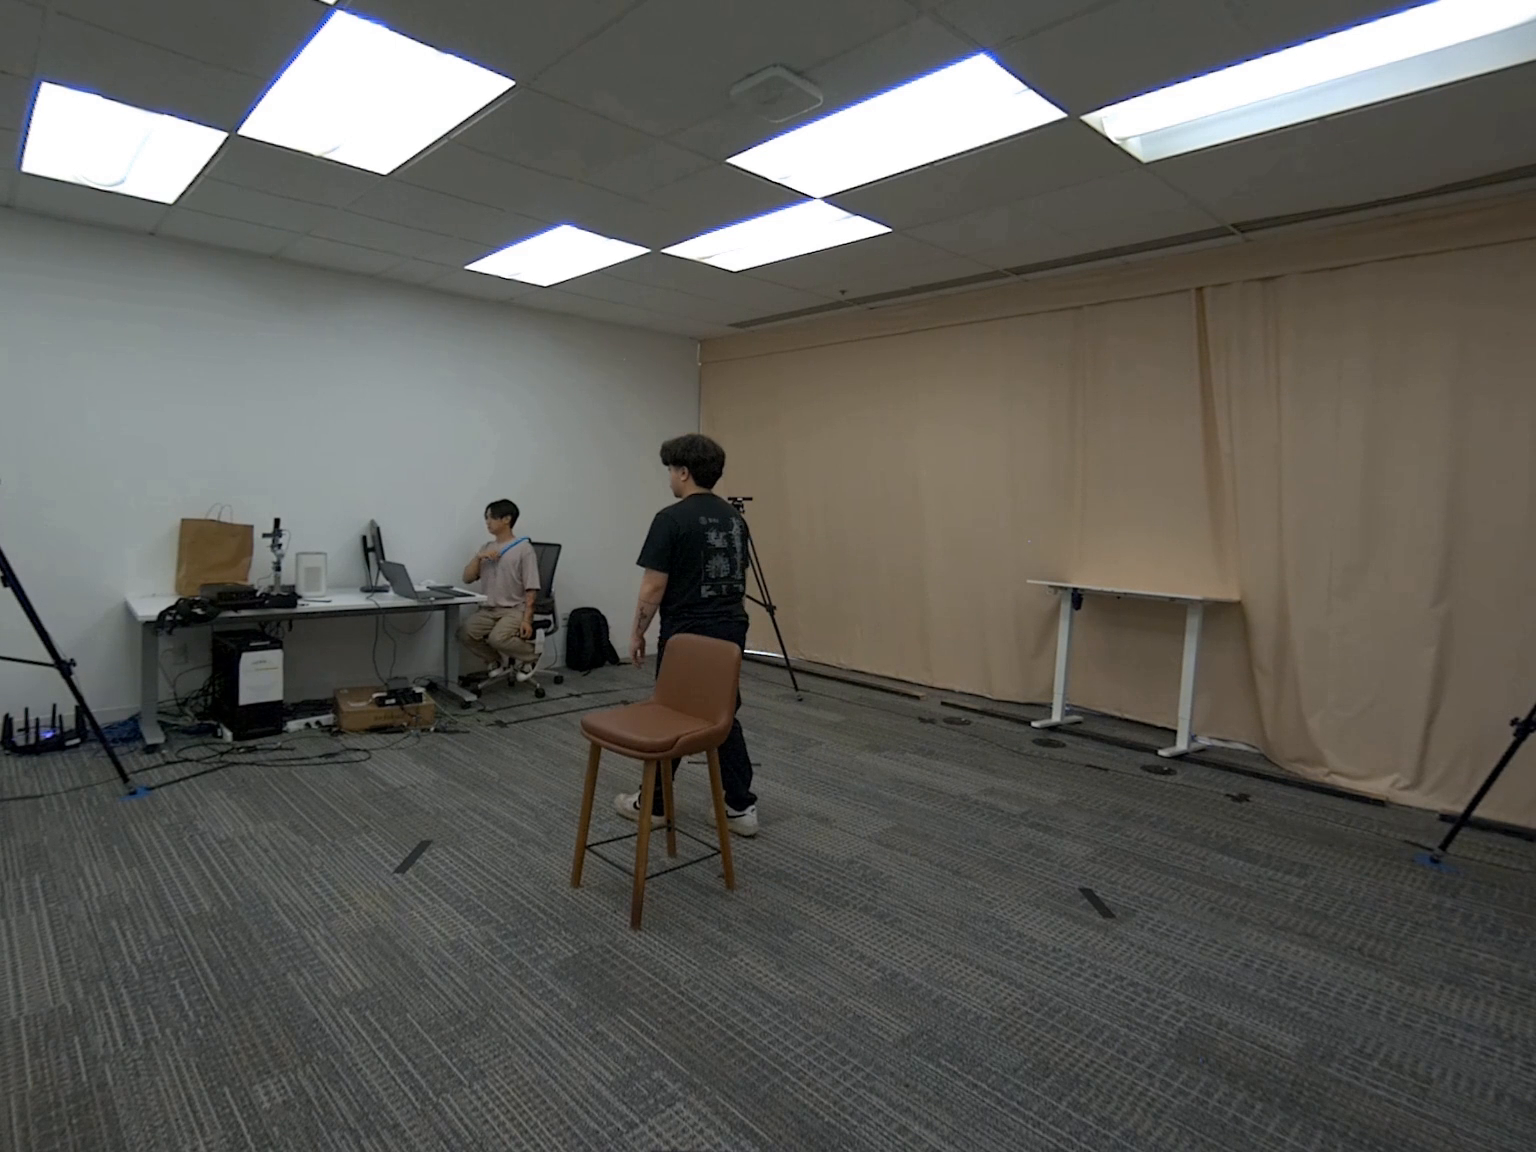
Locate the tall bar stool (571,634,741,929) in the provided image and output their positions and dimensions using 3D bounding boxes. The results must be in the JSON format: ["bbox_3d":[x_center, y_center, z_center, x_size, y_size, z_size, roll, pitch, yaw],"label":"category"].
[{"bbox_3d":[-0.396,0.680,2.974,0.456,0.888,0.468,1,3,-42],"label":"tall bar stool"}]
